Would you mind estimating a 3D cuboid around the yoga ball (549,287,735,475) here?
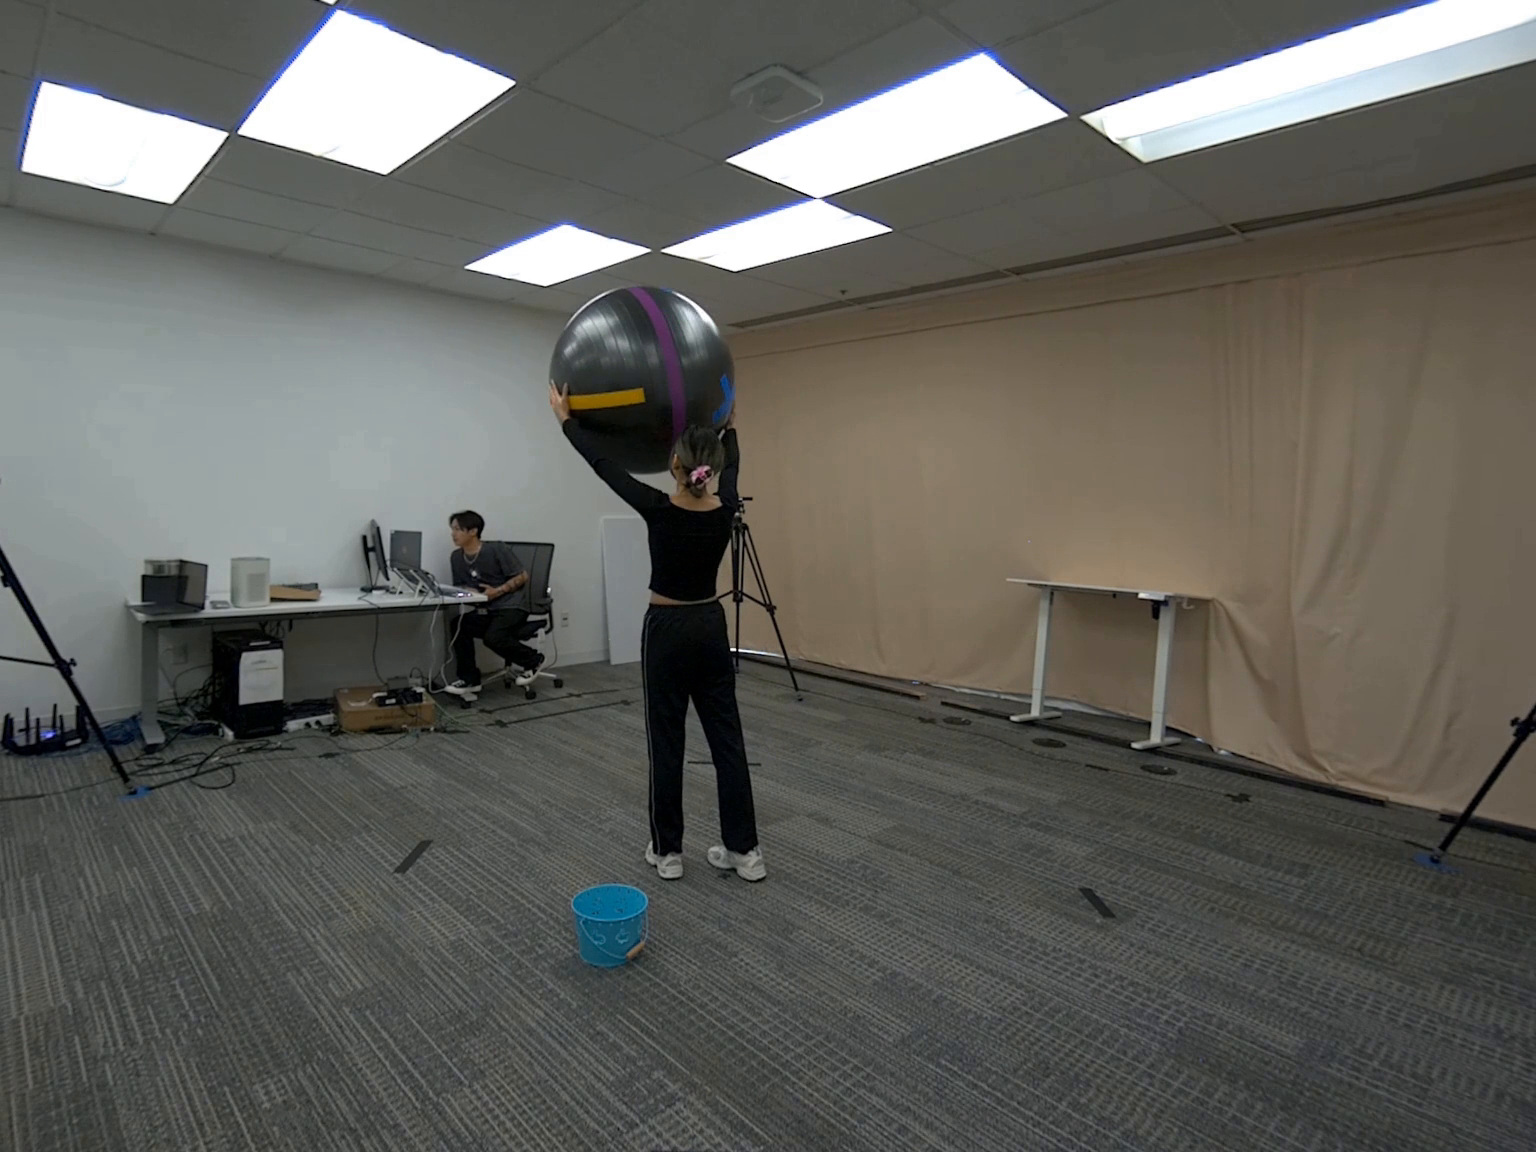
[{"bbox_3d":[-0.519,-0.773,3.449,0.757,0.756,0.761,1,4,-1],"label":"yoga ball"}]
